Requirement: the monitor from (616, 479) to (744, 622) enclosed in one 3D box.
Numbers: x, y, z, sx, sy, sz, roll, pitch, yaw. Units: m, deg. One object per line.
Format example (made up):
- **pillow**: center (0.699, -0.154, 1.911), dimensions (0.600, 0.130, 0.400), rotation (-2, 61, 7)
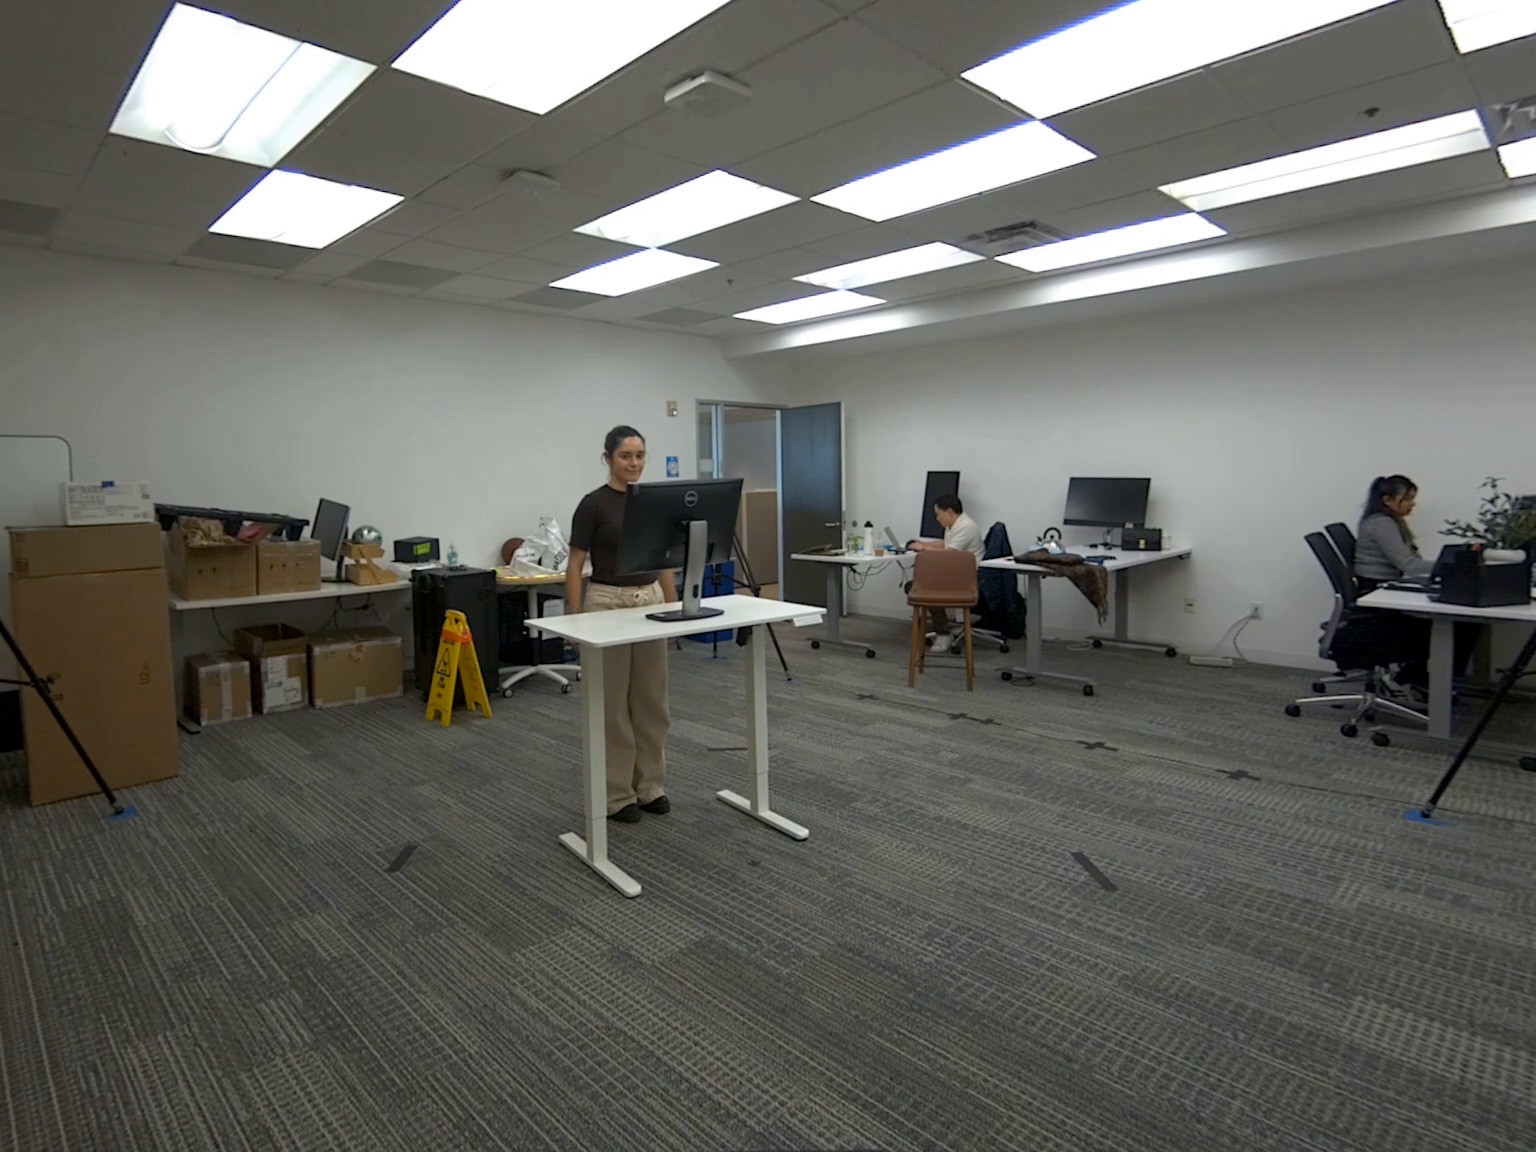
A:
- **monitor**: center (-0.306, -0.100, 3.208), dimensions (0.525, 0.519, 0.193), rotation (-8, 11, -44)
